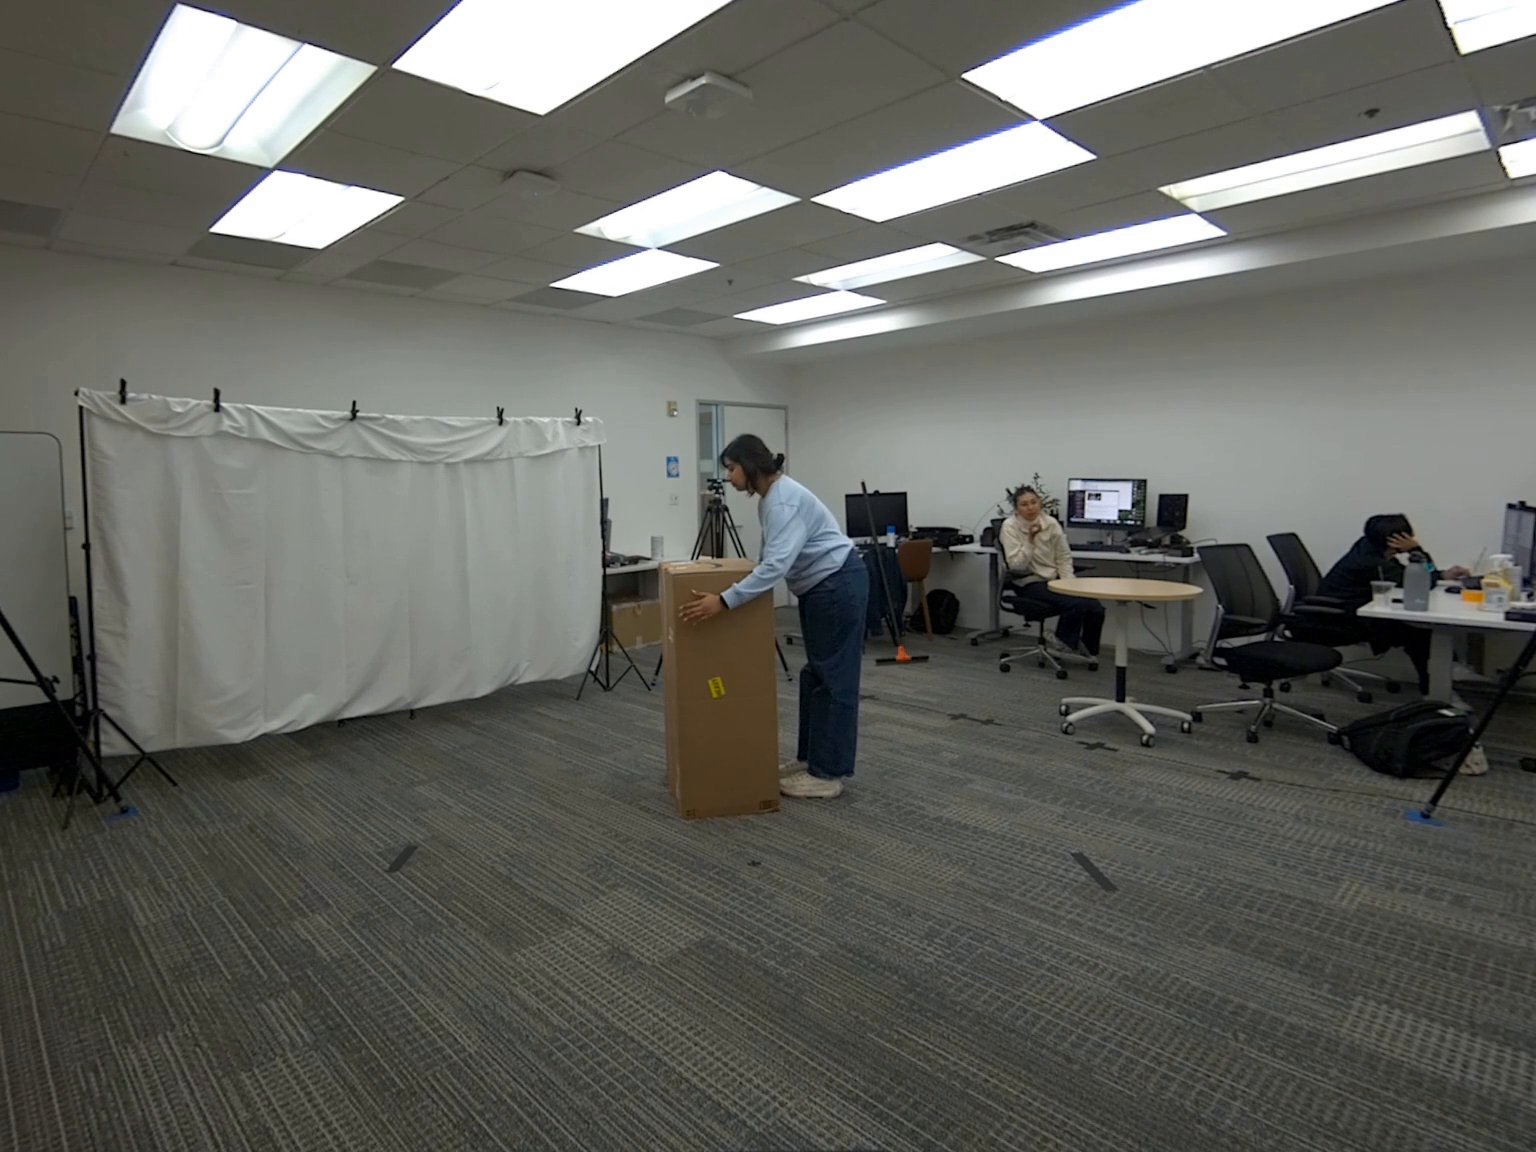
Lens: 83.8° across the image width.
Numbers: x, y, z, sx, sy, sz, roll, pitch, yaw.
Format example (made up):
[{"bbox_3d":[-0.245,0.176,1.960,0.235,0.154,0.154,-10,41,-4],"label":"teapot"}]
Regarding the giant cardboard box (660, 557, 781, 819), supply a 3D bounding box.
[{"bbox_3d":[-0.240,0.463,3.805,0.421,1.023,0.586,-2,3,-12],"label":"giant cardboard box"}]
